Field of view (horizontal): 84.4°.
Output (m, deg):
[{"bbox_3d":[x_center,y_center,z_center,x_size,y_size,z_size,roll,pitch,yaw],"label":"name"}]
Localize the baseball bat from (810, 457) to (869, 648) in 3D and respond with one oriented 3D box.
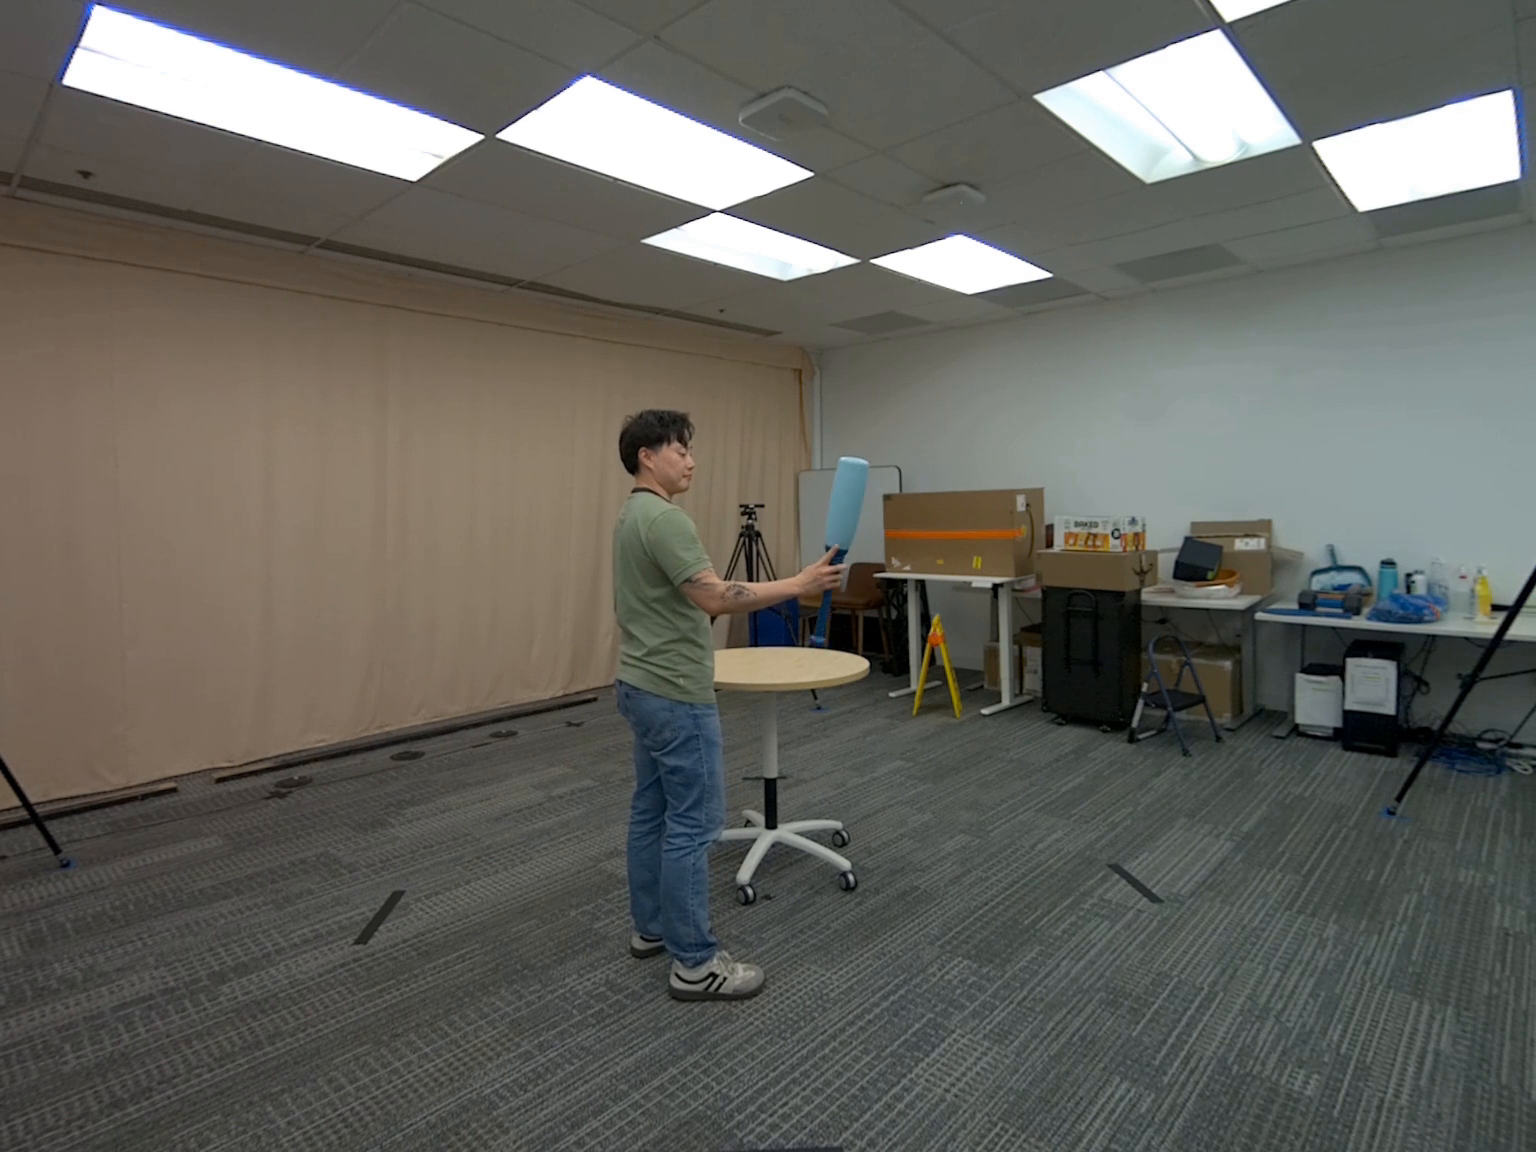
[{"bbox_3d":[0.197,-0.059,2.350,0.089,0.541,0.090,11,9,-4],"label":"baseball bat"}]
